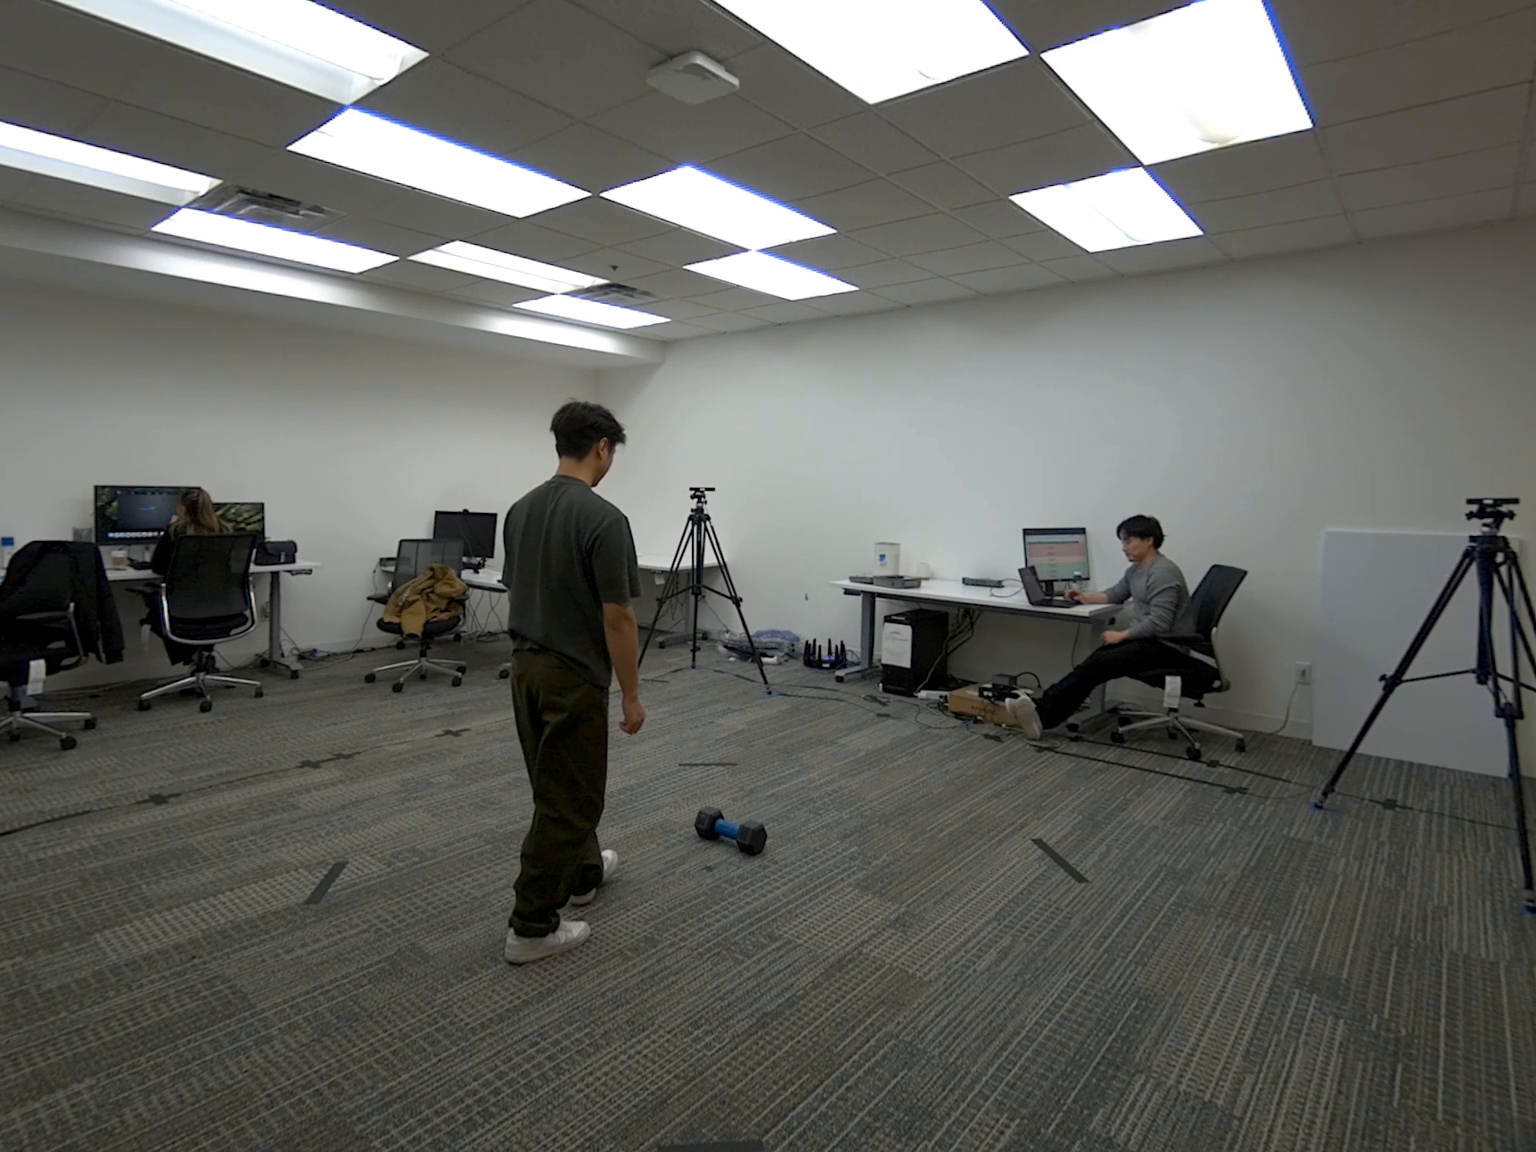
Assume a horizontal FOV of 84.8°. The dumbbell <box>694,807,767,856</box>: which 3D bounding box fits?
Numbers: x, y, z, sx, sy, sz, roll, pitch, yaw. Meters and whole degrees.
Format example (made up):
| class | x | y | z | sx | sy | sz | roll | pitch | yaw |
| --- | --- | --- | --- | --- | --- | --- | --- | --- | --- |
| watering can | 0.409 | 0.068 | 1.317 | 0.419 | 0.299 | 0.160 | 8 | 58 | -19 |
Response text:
| class | x | y | z | sx | sy | sz | roll | pitch | yaw |
| --- | --- | --- | --- | --- | --- | --- | --- | --- | --- |
| dumbbell | -0.158 | 0.991 | 3.329 | 0.303 | 0.124 | 0.104 | 5 | -25 | 38 |
